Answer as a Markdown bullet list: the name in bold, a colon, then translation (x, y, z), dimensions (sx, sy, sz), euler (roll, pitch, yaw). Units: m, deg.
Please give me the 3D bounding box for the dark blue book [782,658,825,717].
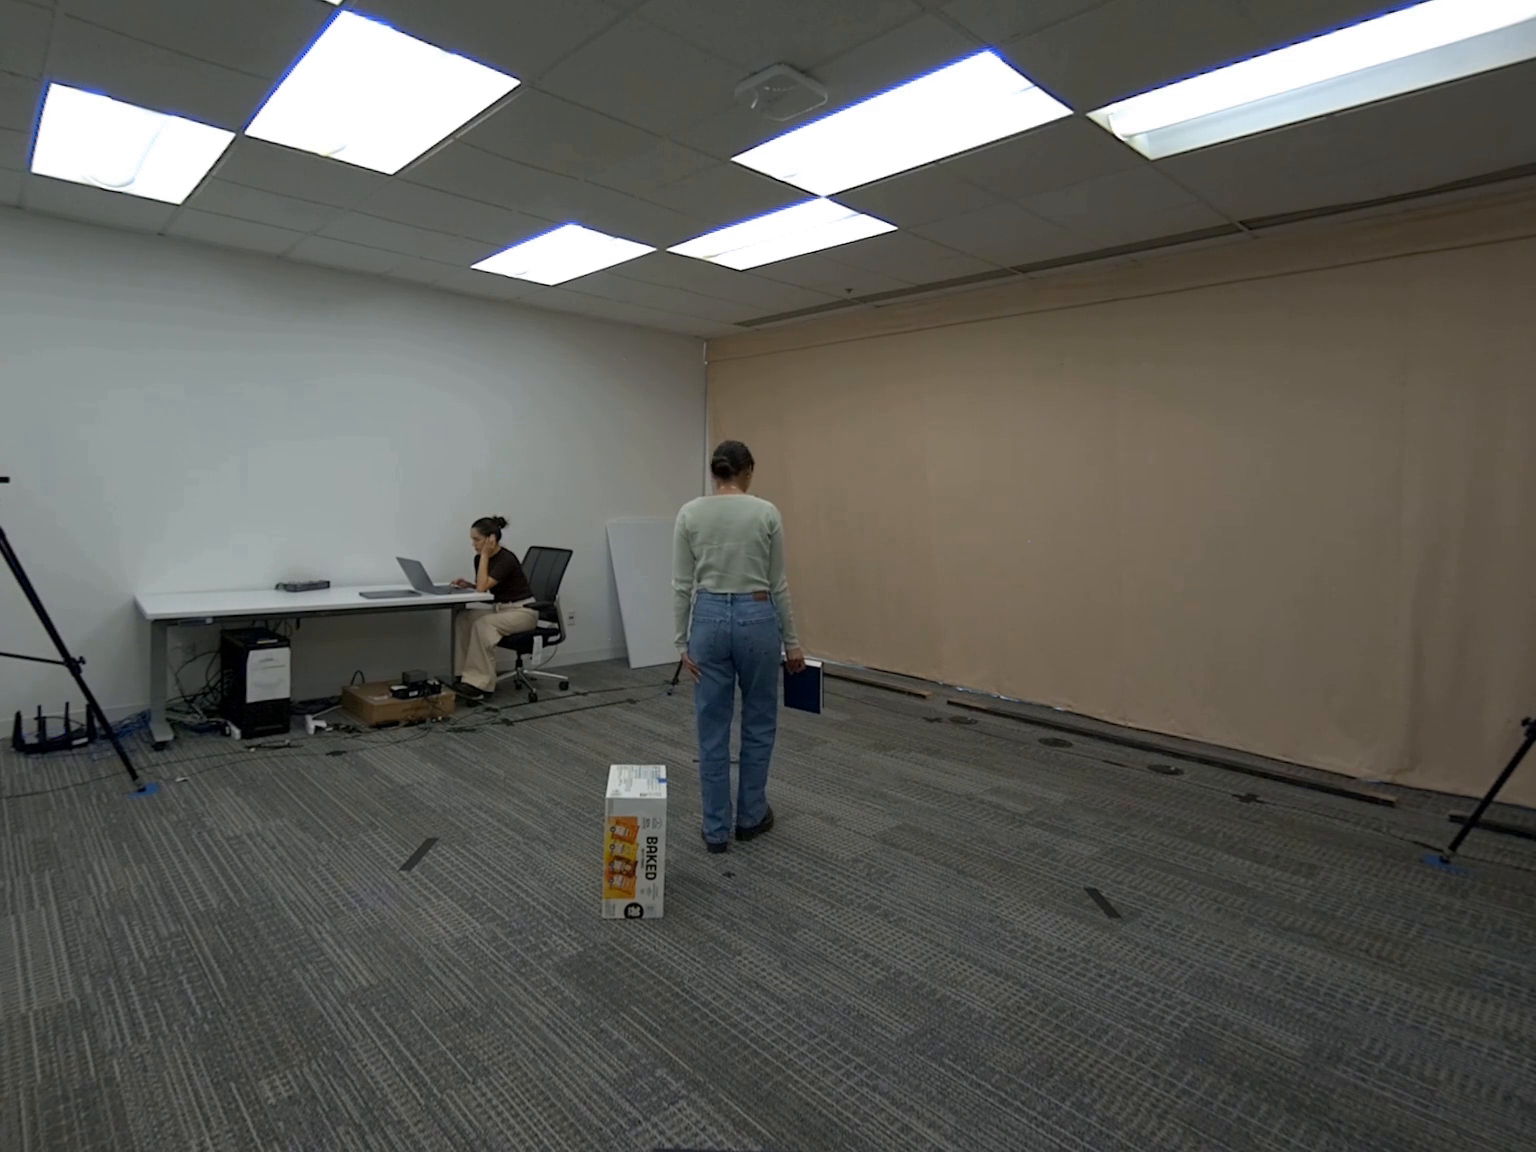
- **dark blue book**: translation (0.145, 0.454, 3.501), dimensions (0.166, 0.240, 0.045), euler (7, 29, 19)
